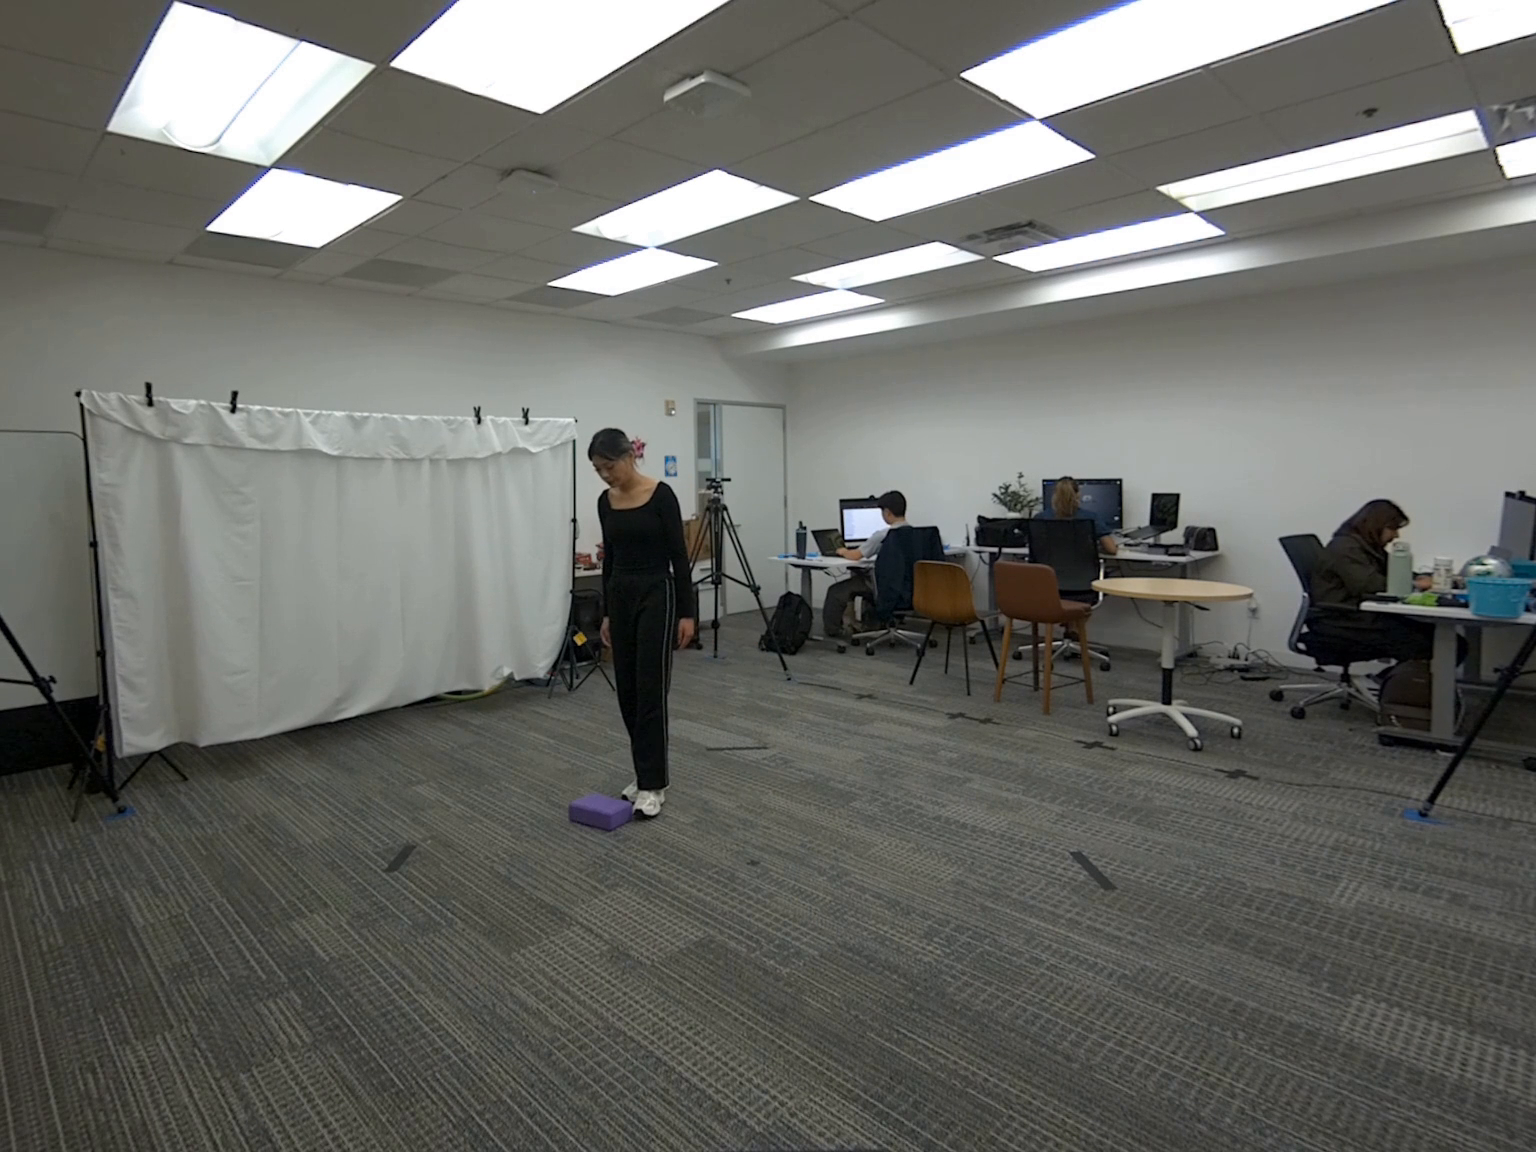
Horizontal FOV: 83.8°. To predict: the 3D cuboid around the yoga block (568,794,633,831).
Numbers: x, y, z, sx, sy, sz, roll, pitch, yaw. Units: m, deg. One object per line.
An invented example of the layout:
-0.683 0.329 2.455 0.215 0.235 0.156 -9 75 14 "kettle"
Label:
-0.685 0.967 3.517 0.236 0.076 0.145 3 7 32 "yoga block"
